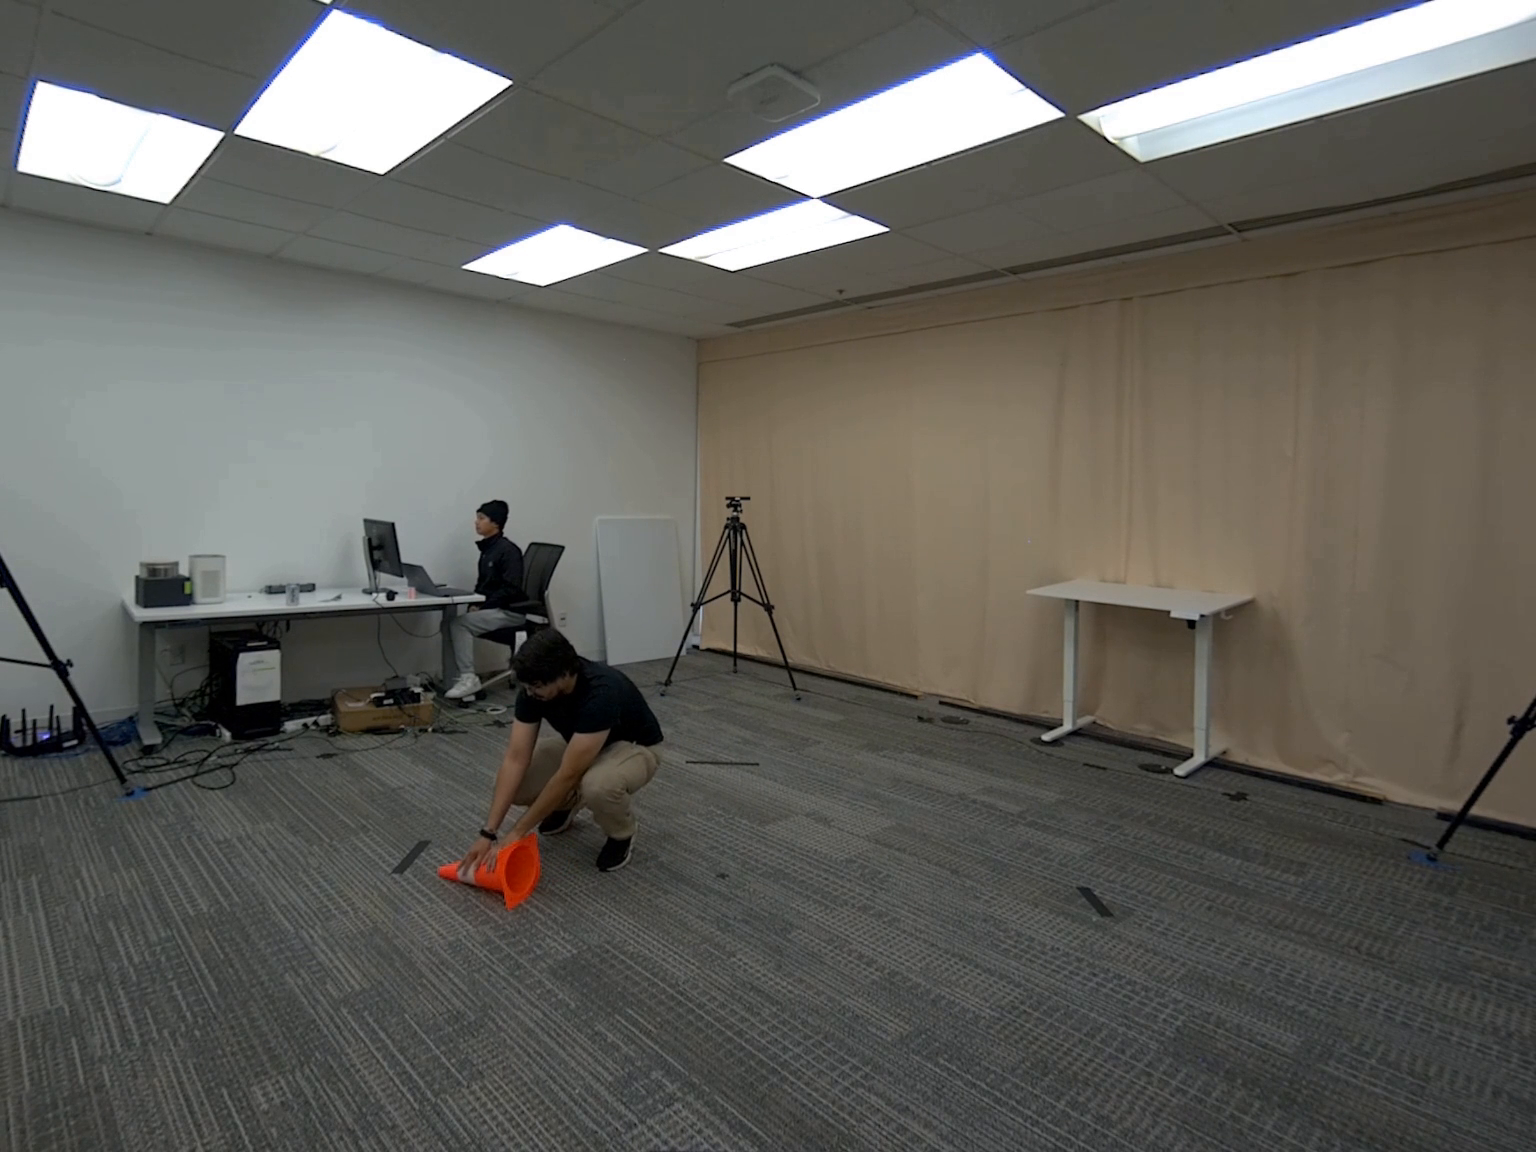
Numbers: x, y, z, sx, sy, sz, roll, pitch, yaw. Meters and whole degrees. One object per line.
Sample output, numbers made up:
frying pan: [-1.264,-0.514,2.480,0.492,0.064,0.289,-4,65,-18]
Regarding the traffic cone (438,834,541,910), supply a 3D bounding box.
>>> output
traffic cone: [-1.048,1.050,2.974,0.389,0.203,0.202,-9,1,24]
